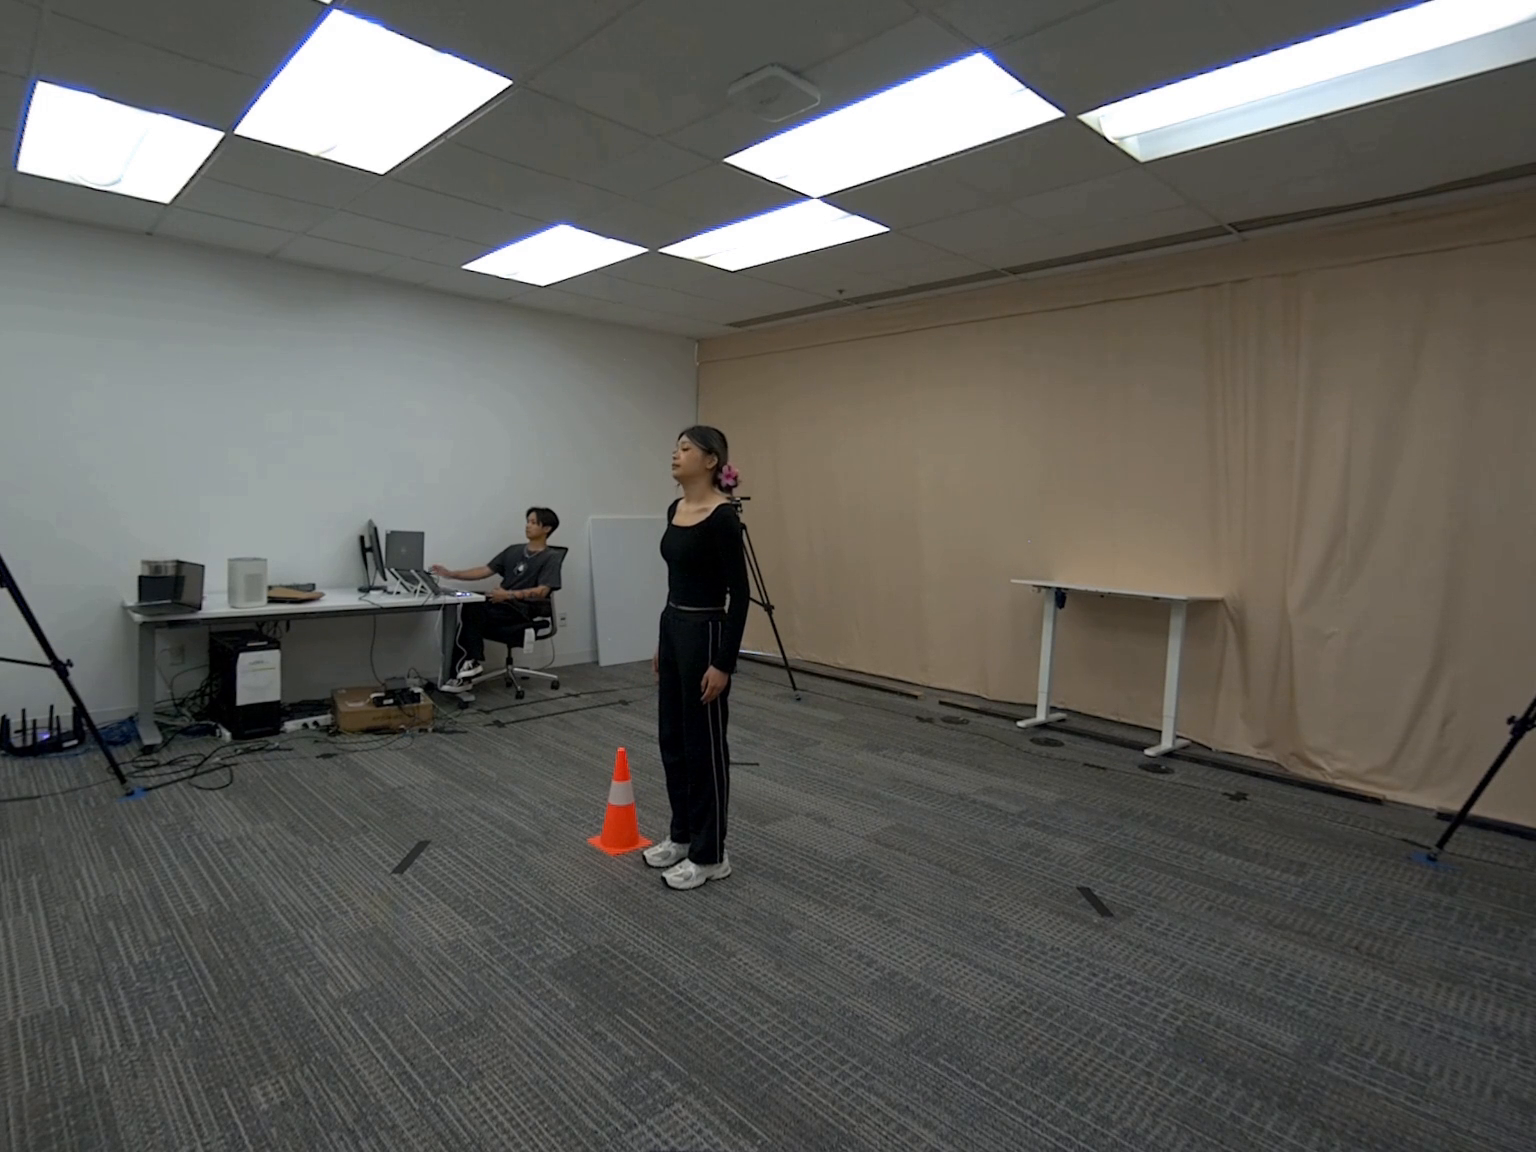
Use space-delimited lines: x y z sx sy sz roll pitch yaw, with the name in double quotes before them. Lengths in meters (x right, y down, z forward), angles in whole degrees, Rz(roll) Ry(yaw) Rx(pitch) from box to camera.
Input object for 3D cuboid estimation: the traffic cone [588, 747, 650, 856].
"traffic cone" -0.603 0.884 3.380 0.201 0.383 0.208 0 3 -30
